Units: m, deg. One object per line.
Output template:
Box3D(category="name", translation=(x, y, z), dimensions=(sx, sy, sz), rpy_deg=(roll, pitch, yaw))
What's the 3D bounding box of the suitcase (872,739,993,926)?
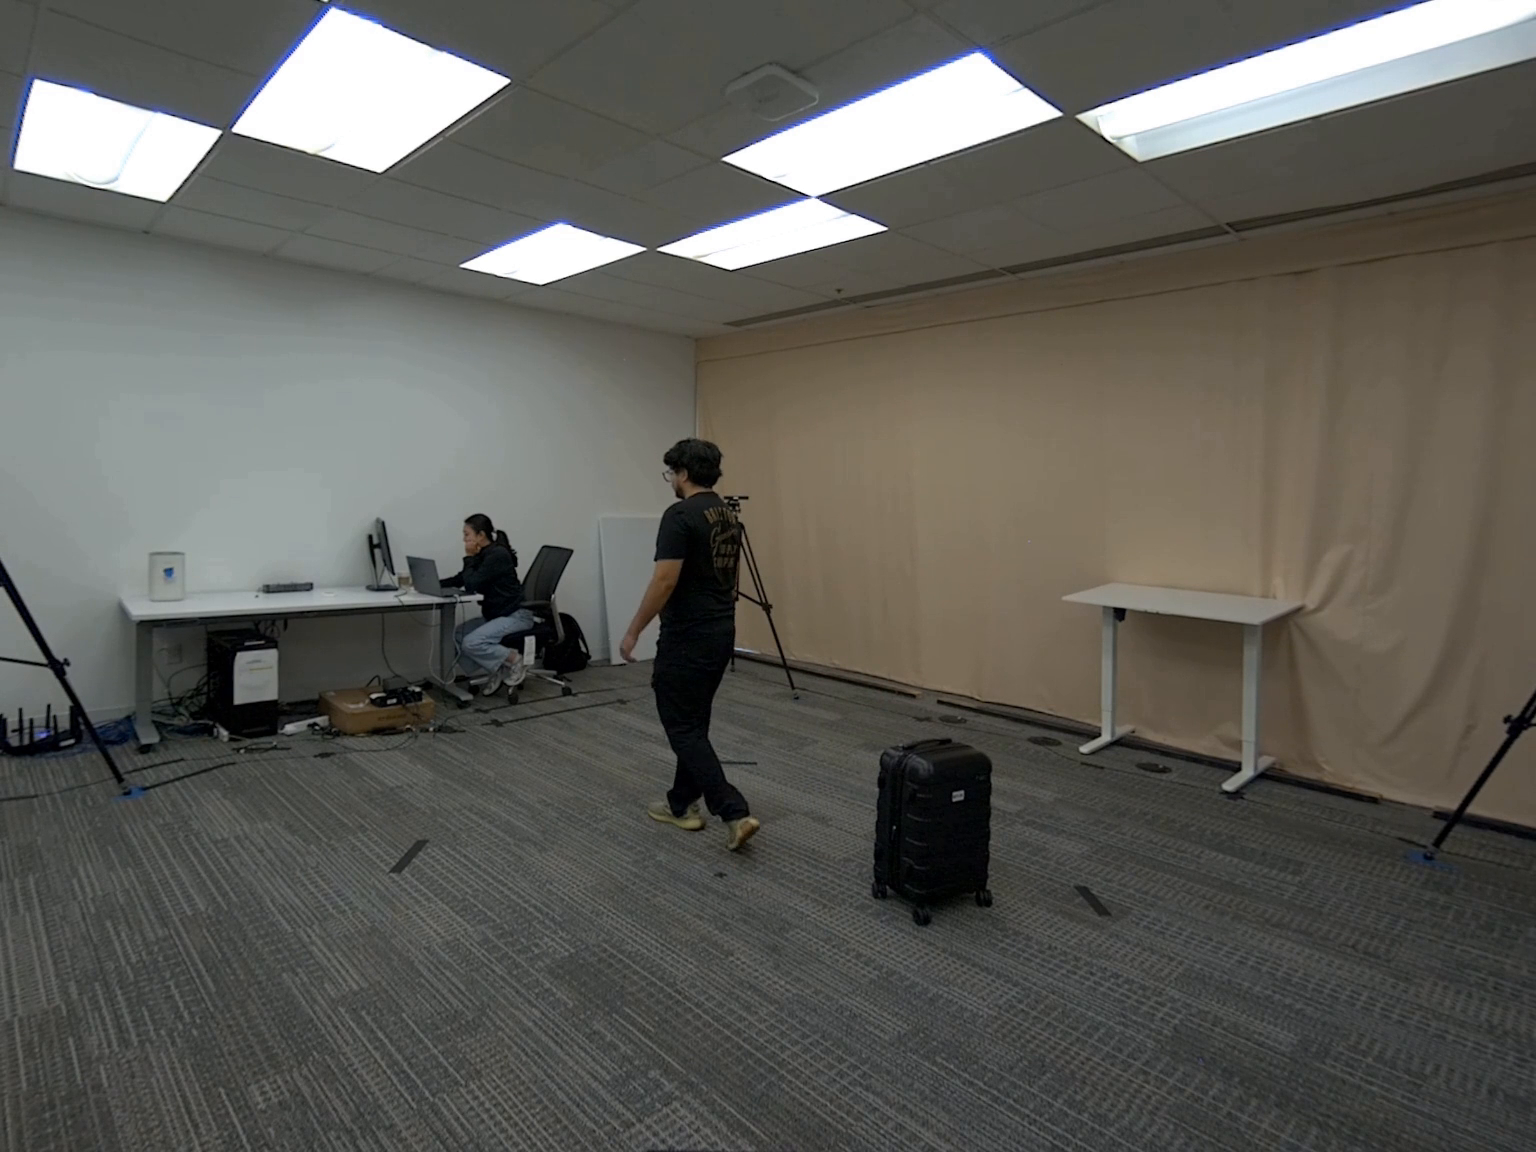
Box3D(category="suitcase", translation=(0.575, 0.863, 2.938), dimensions=(0.367, 0.548, 0.254), rpy_deg=(-1, 3, -32))
